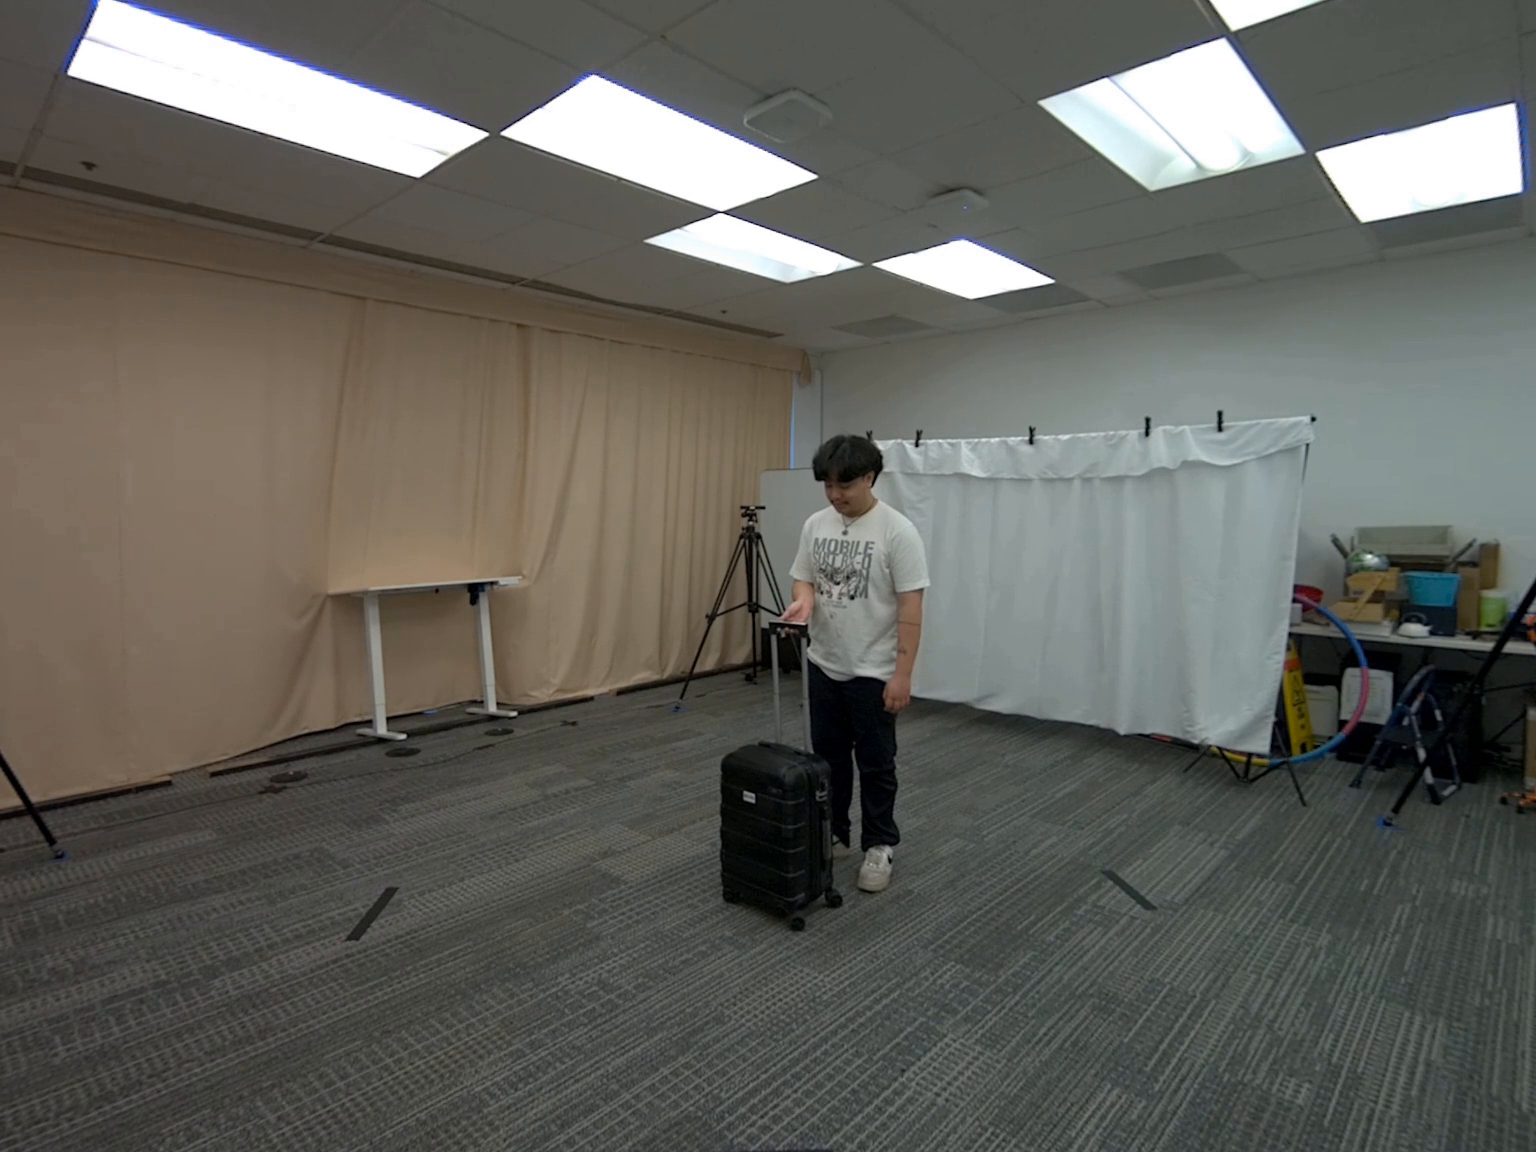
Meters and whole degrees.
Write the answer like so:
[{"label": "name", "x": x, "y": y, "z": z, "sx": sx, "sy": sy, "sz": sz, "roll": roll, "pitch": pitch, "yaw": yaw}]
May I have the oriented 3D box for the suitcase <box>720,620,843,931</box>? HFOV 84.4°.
[{"label": "suitcase", "x": 0.021, "y": 0.675, "z": 2.912, "sx": 0.397, "sy": 0.975, "sz": 0.250, "roll": 2, "pitch": 7, "yaw": 42}]
